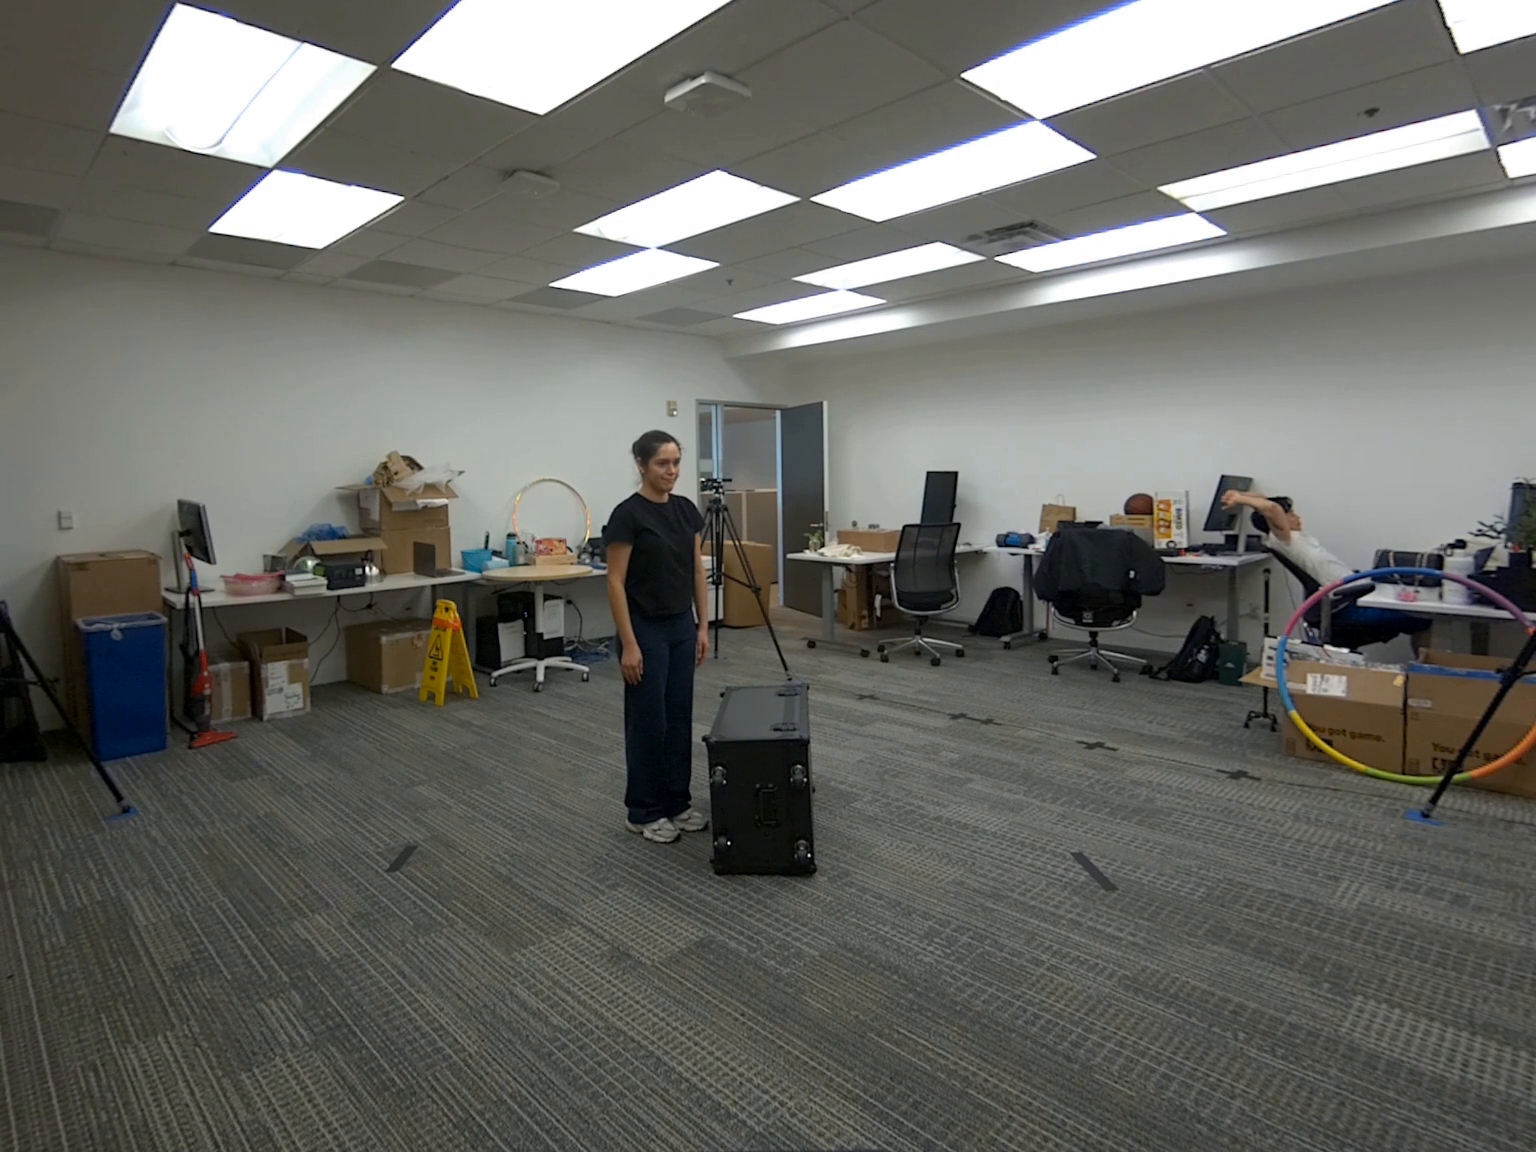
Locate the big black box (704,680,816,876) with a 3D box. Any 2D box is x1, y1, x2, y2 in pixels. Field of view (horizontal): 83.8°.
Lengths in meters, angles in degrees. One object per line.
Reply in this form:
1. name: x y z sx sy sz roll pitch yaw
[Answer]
1. big black box: -0.025 0.758 3.354 0.398 0.519 0.862 -3 5 3
